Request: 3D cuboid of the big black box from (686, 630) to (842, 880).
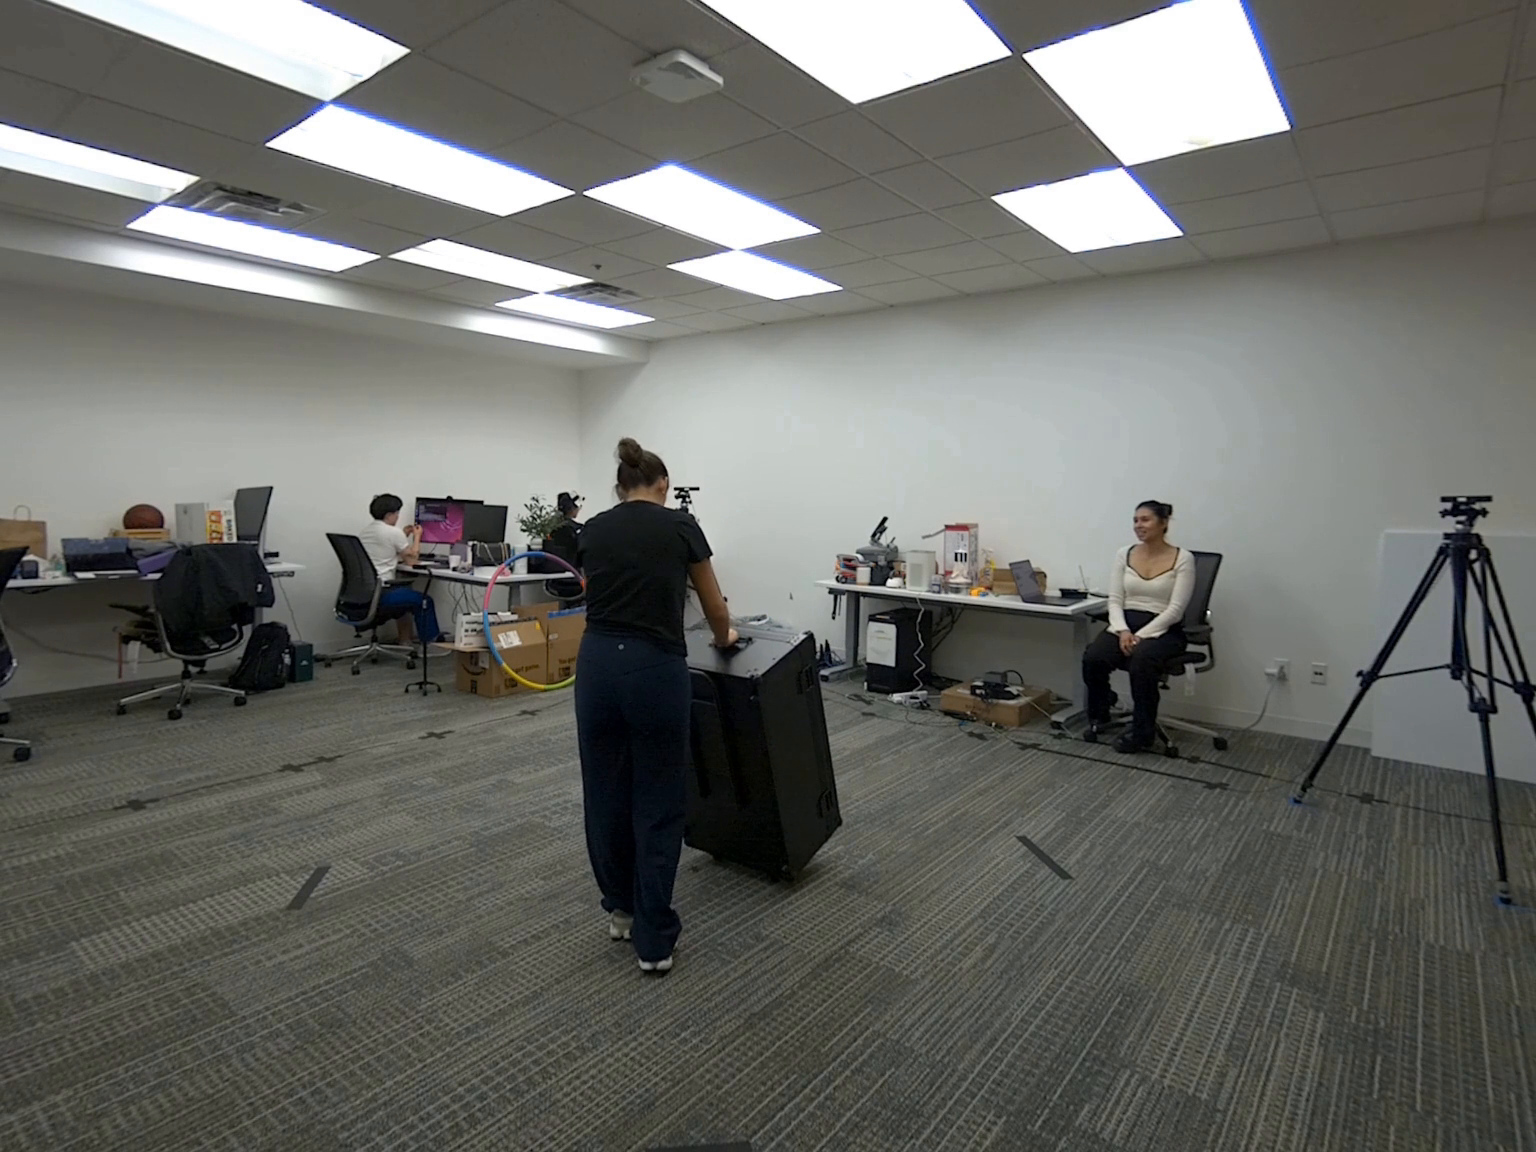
[{"bbox_3d":[-0.056,0.625,3.090,0.538,0.846,0.390,3,20,37],"label":"big black box"}]
